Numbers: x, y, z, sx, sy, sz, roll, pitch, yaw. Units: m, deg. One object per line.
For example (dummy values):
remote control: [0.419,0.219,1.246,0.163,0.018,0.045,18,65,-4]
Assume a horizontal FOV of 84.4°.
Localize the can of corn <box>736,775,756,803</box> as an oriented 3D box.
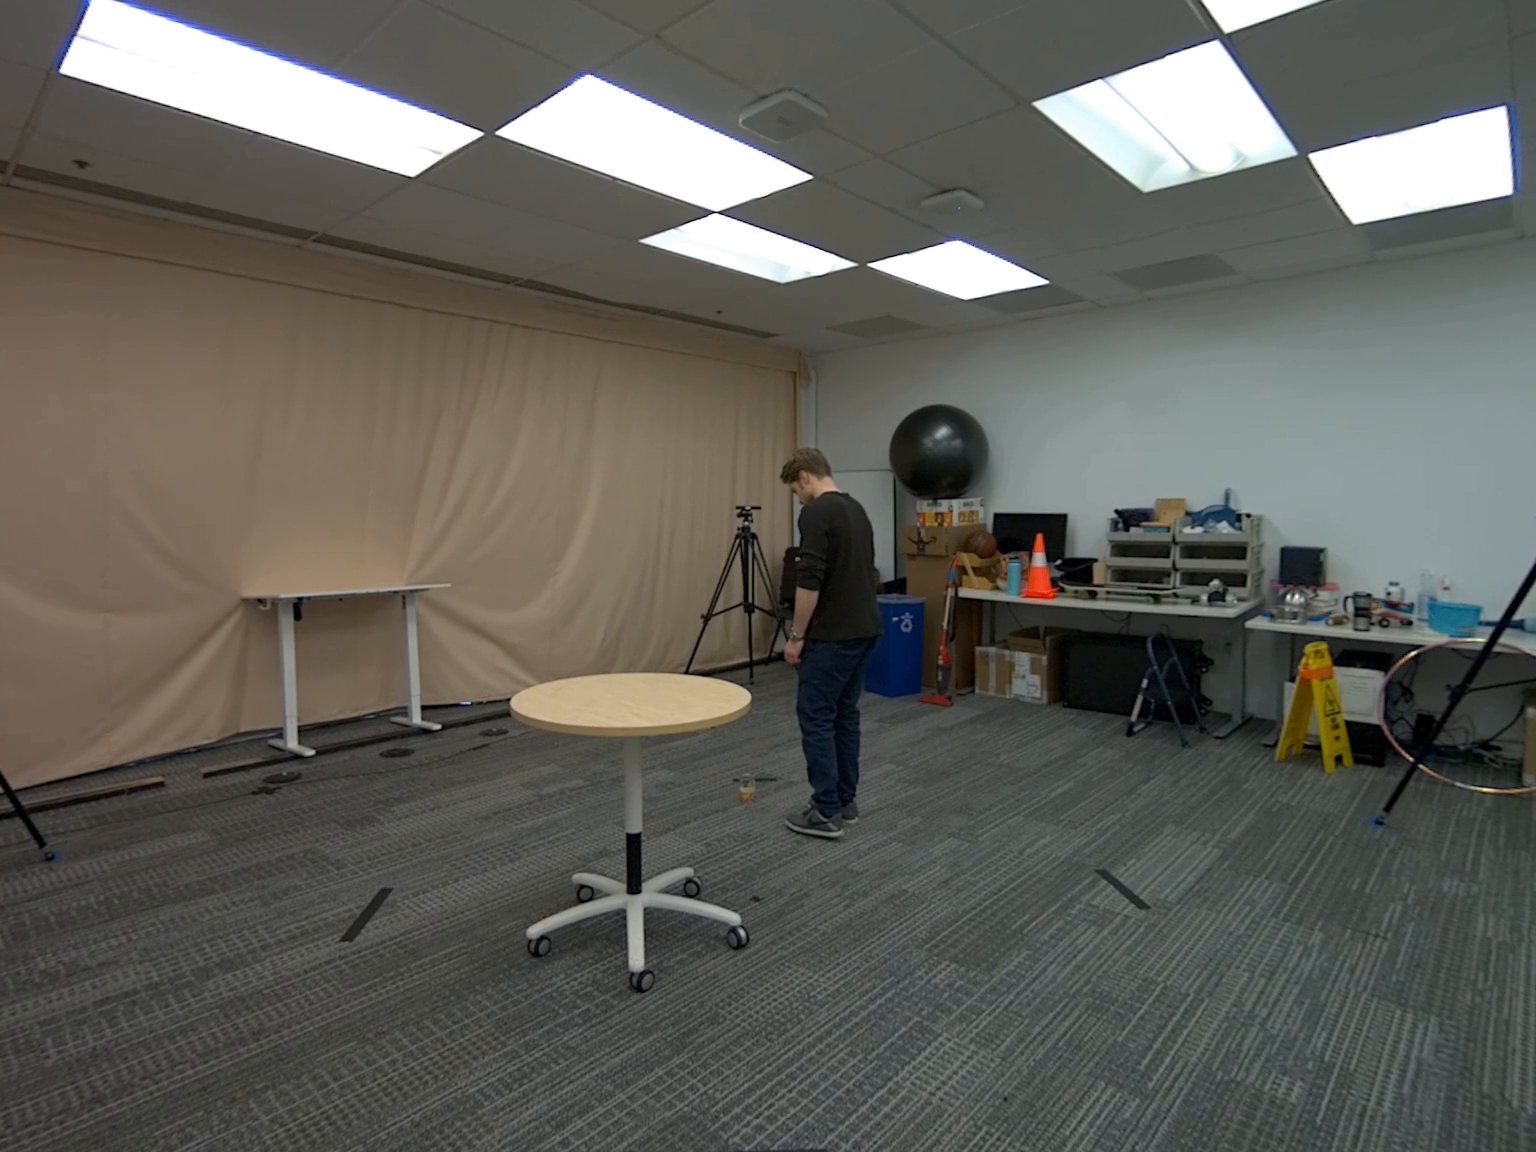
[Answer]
can of corn: [-0.095,1.010,4.008,0.074,0.111,0.074,-1,-3,-2]
